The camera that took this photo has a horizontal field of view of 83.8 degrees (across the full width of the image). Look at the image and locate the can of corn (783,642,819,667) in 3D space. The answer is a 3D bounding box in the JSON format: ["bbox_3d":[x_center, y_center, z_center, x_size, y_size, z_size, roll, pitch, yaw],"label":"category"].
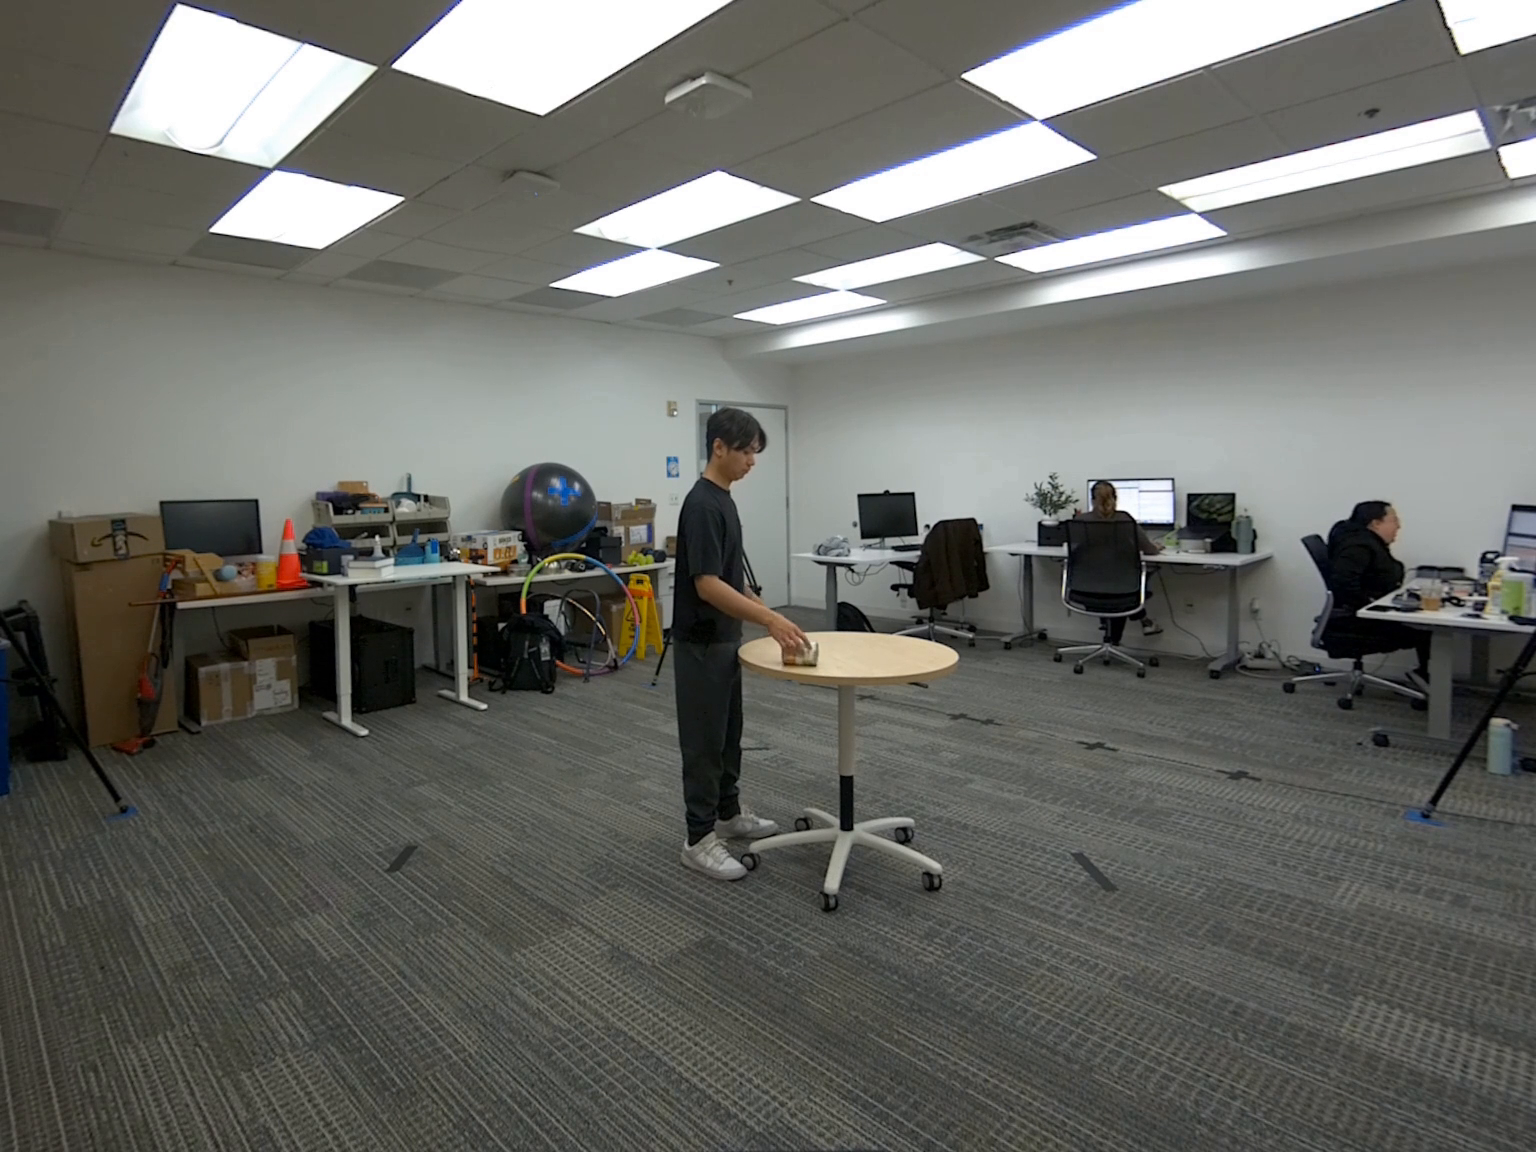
[{"bbox_3d":[0.109,0.252,2.816,0.112,0.074,0.074,-3,4,9],"label":"can of corn"}]
